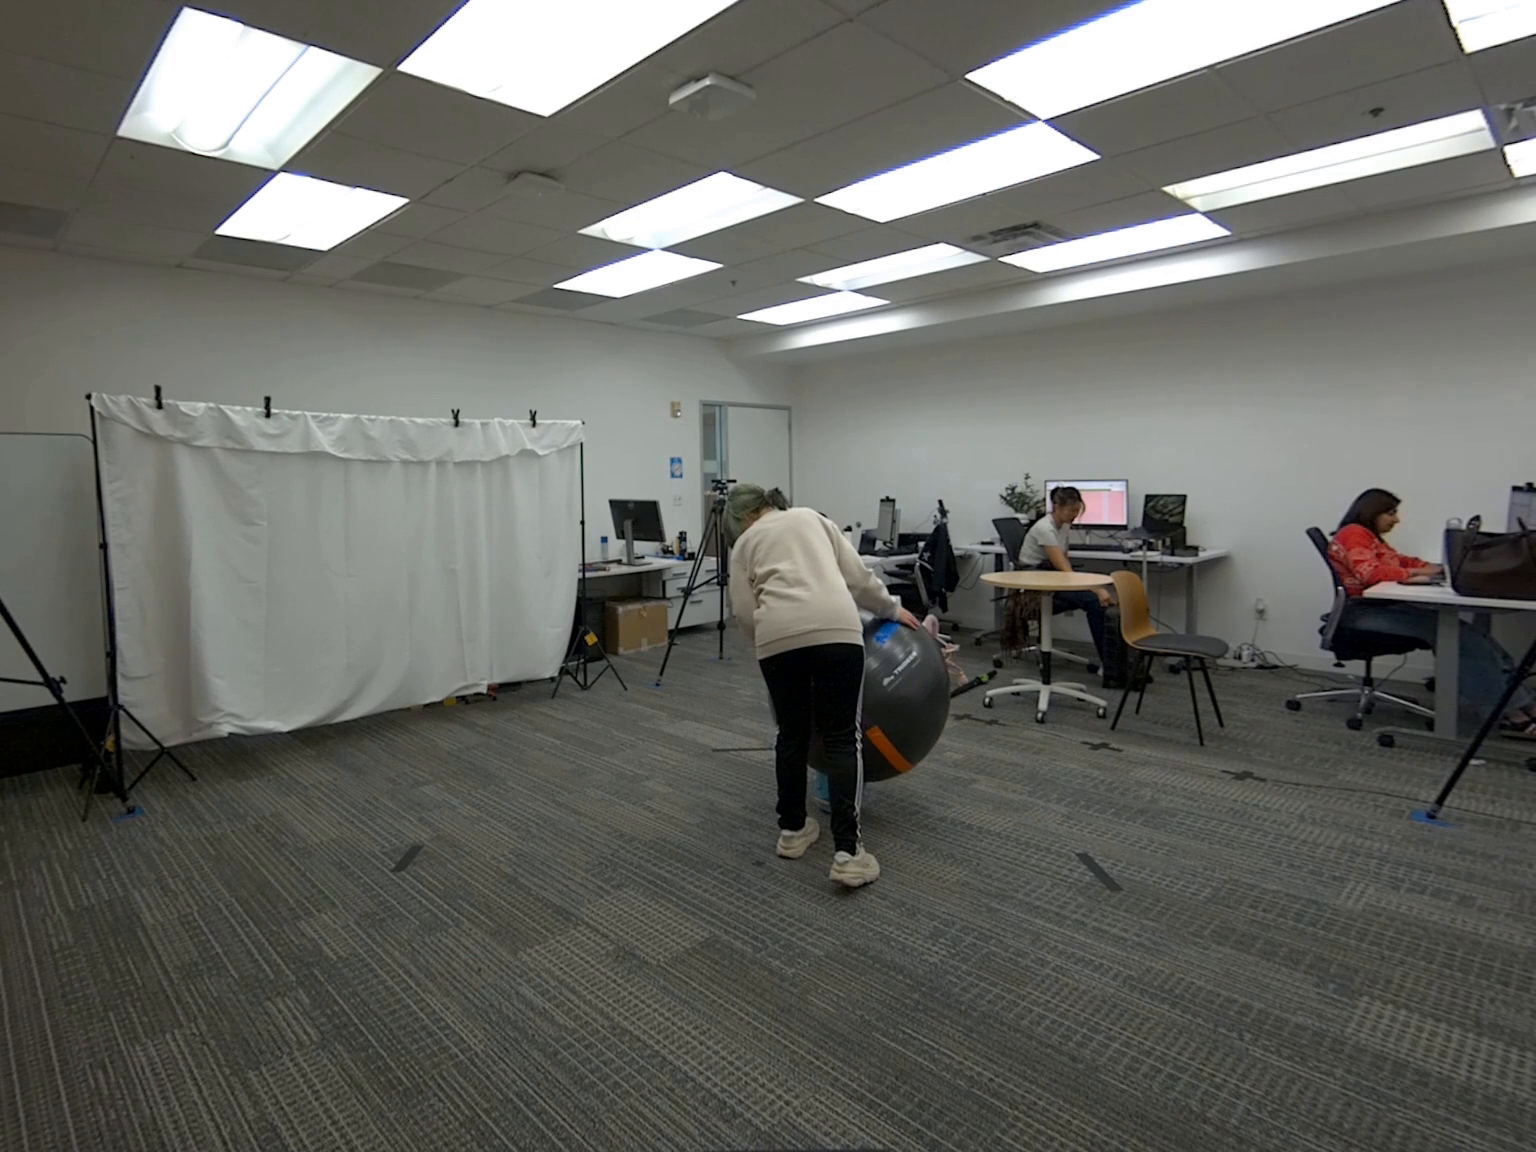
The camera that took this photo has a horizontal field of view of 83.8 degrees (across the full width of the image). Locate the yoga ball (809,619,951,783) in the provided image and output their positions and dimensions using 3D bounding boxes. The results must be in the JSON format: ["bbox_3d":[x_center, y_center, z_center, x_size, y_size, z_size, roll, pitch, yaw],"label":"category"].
[{"bbox_3d":[0.374,0.471,3.572,0.757,0.755,0.762,-1,5,-2],"label":"yoga ball"}]
